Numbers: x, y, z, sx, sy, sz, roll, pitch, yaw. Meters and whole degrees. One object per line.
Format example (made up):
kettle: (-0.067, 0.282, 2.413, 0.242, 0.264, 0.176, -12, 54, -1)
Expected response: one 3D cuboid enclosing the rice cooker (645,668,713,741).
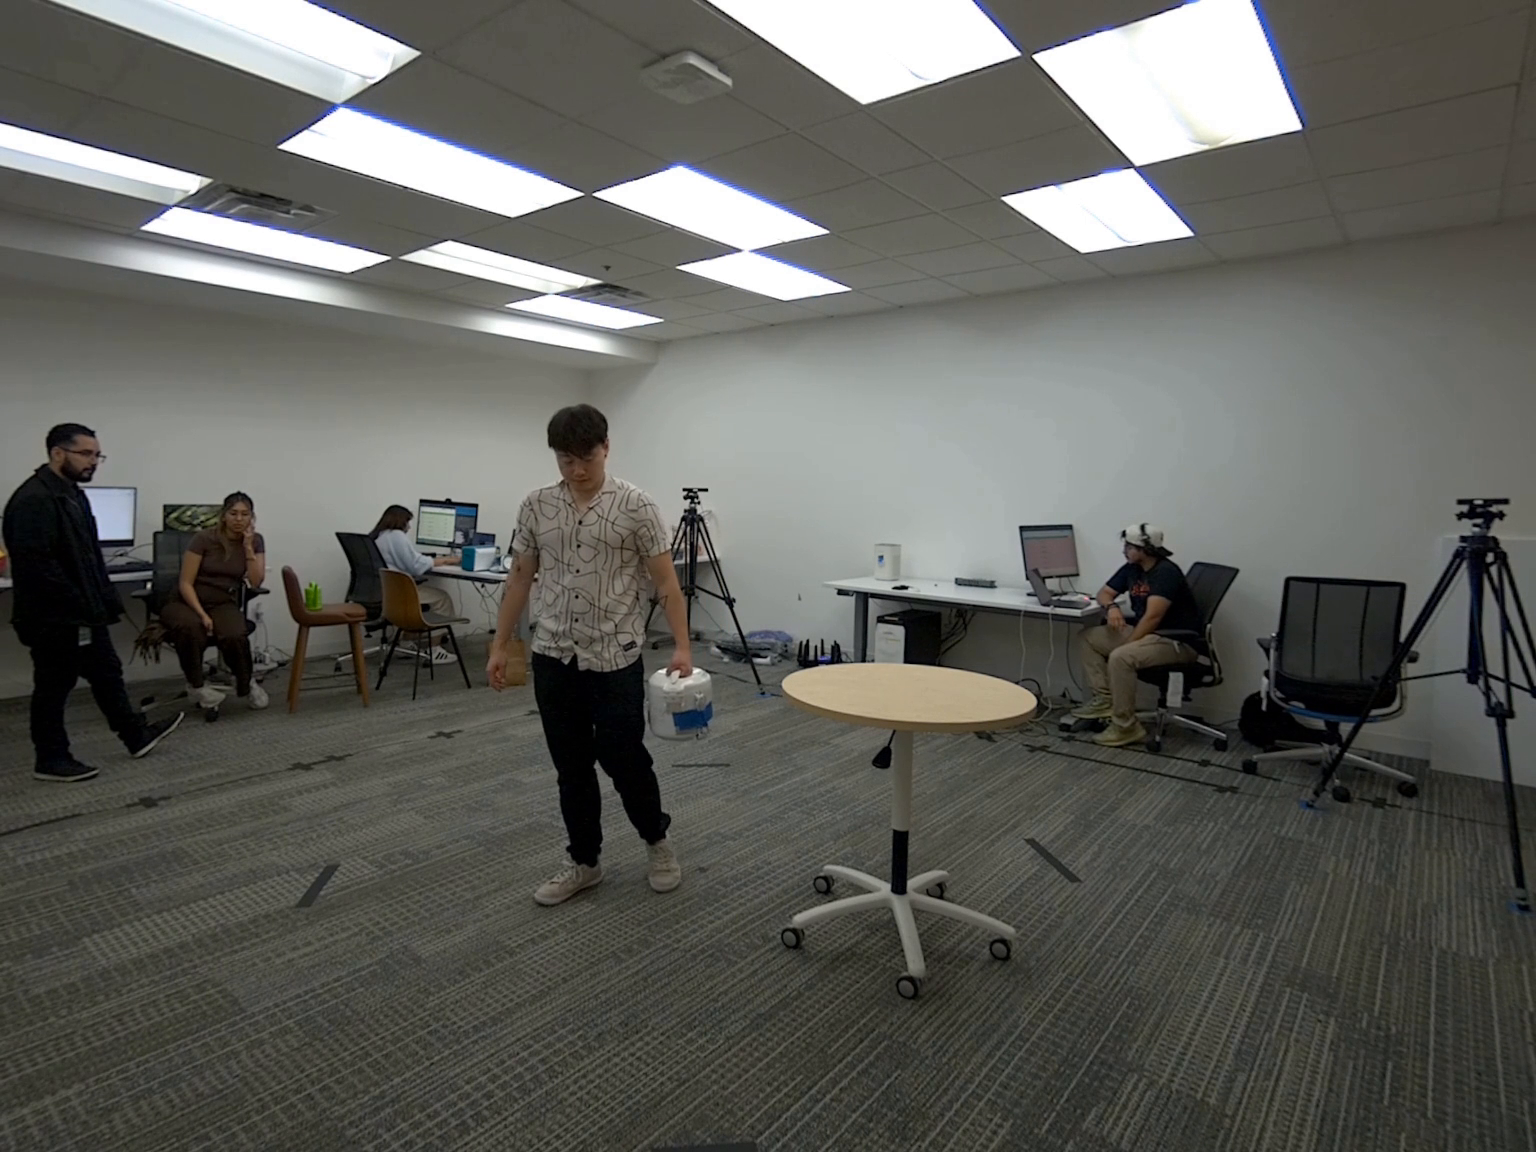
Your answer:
rice cooker: (-0.308, 0.405, 2.802, 0.219, 0.231, 0.220, 0, 8, 8)
